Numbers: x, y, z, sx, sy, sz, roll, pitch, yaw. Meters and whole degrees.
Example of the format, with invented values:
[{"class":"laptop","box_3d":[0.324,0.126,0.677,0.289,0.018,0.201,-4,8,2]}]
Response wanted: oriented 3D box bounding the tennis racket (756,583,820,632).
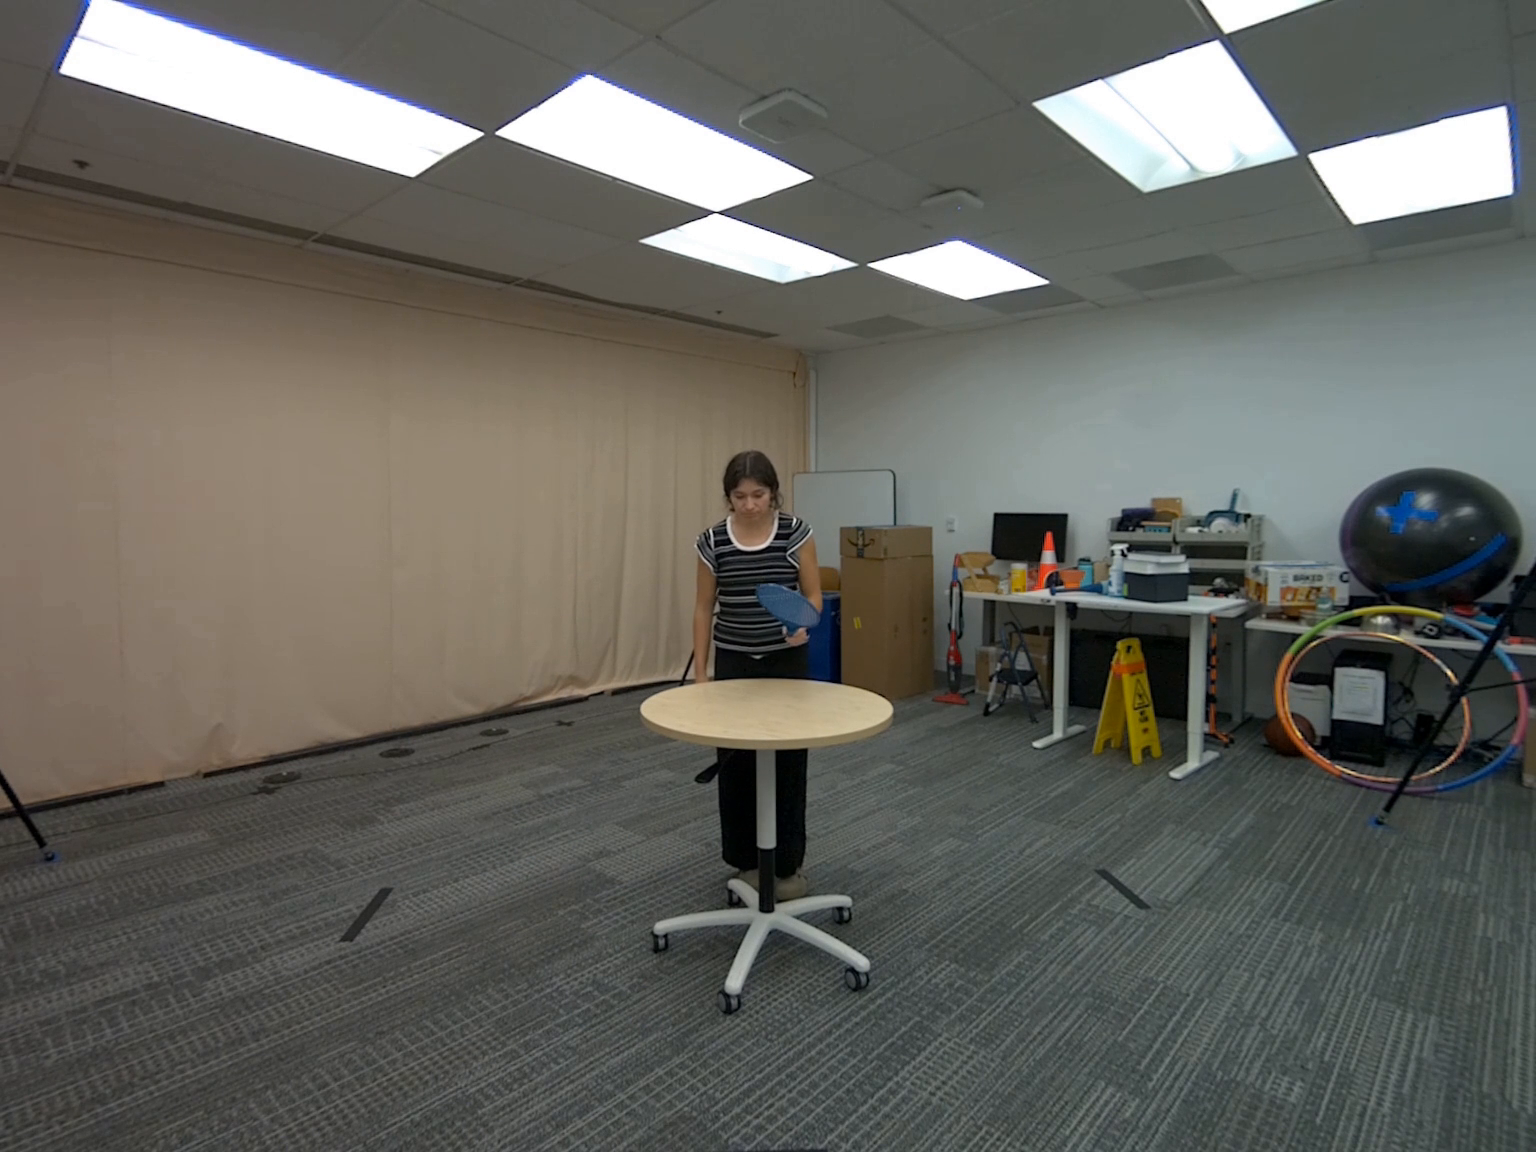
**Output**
[{"class":"tennis racket","box_3d":[0.040,0.126,2.683,0.218,0.032,0.425,23,-21,14]}]
